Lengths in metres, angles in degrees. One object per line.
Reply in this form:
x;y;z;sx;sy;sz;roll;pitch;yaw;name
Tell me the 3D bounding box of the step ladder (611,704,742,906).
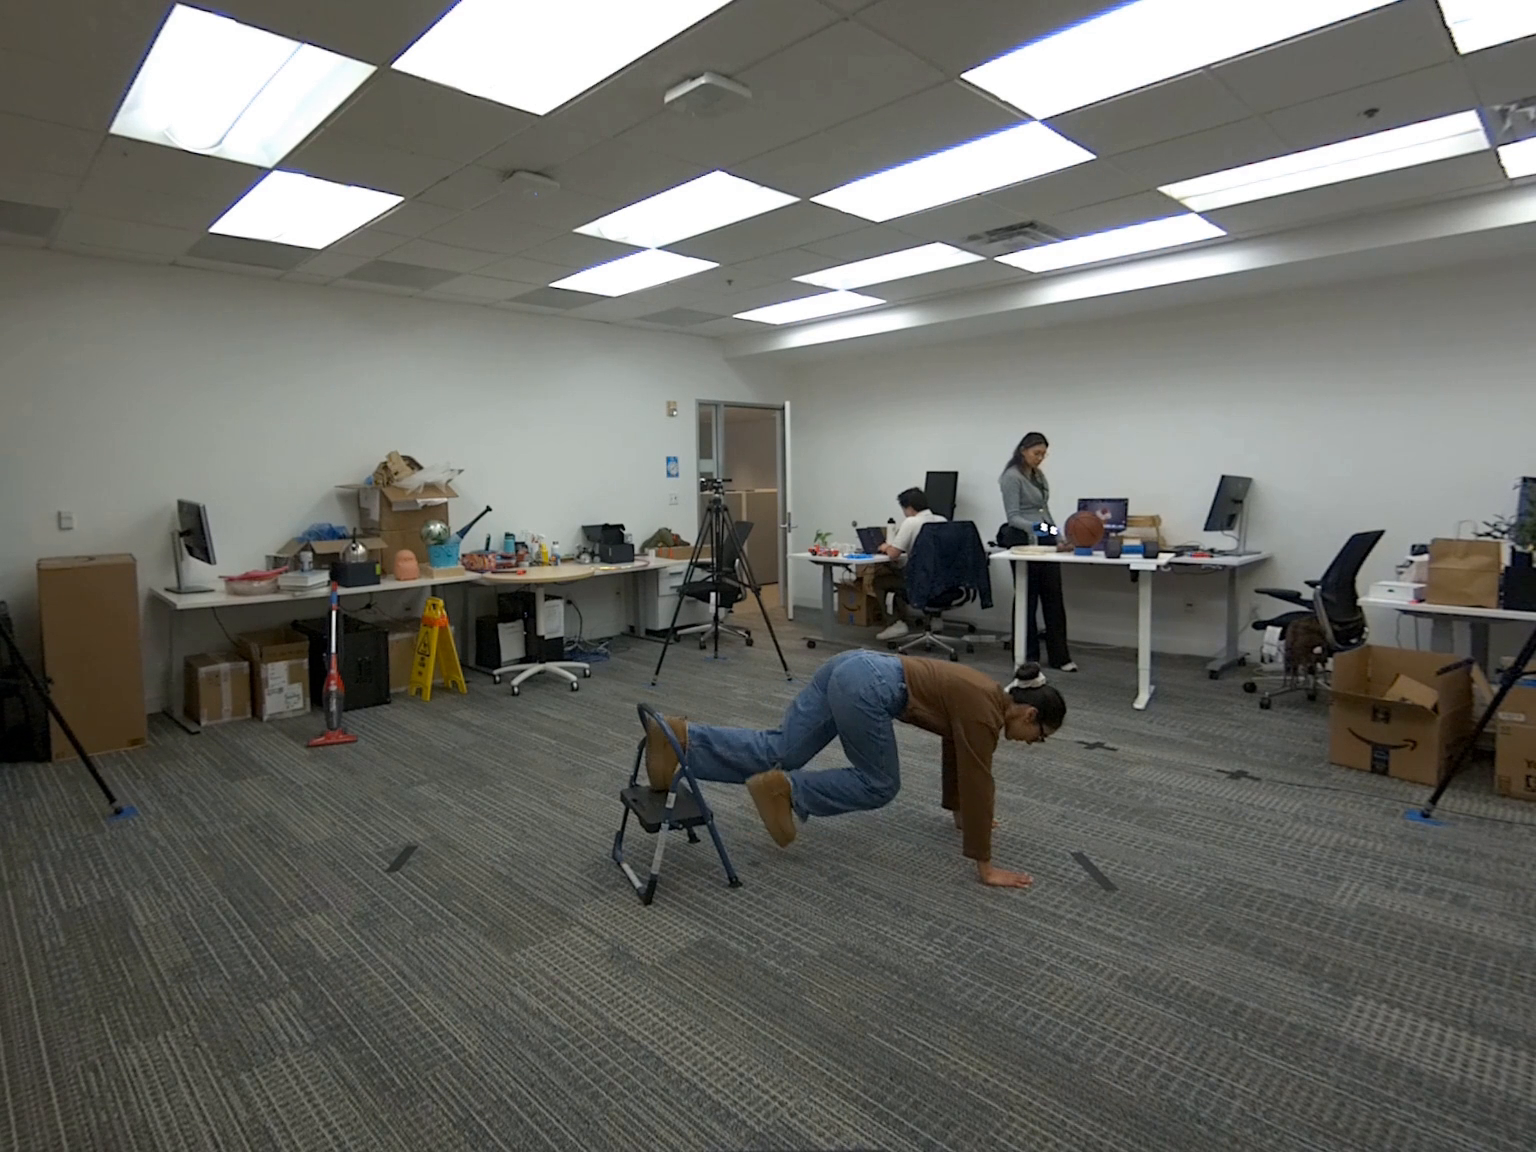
-0.341;0.756;3.041;0.342;0.604;0.441;-3;5;-25;step ladder
